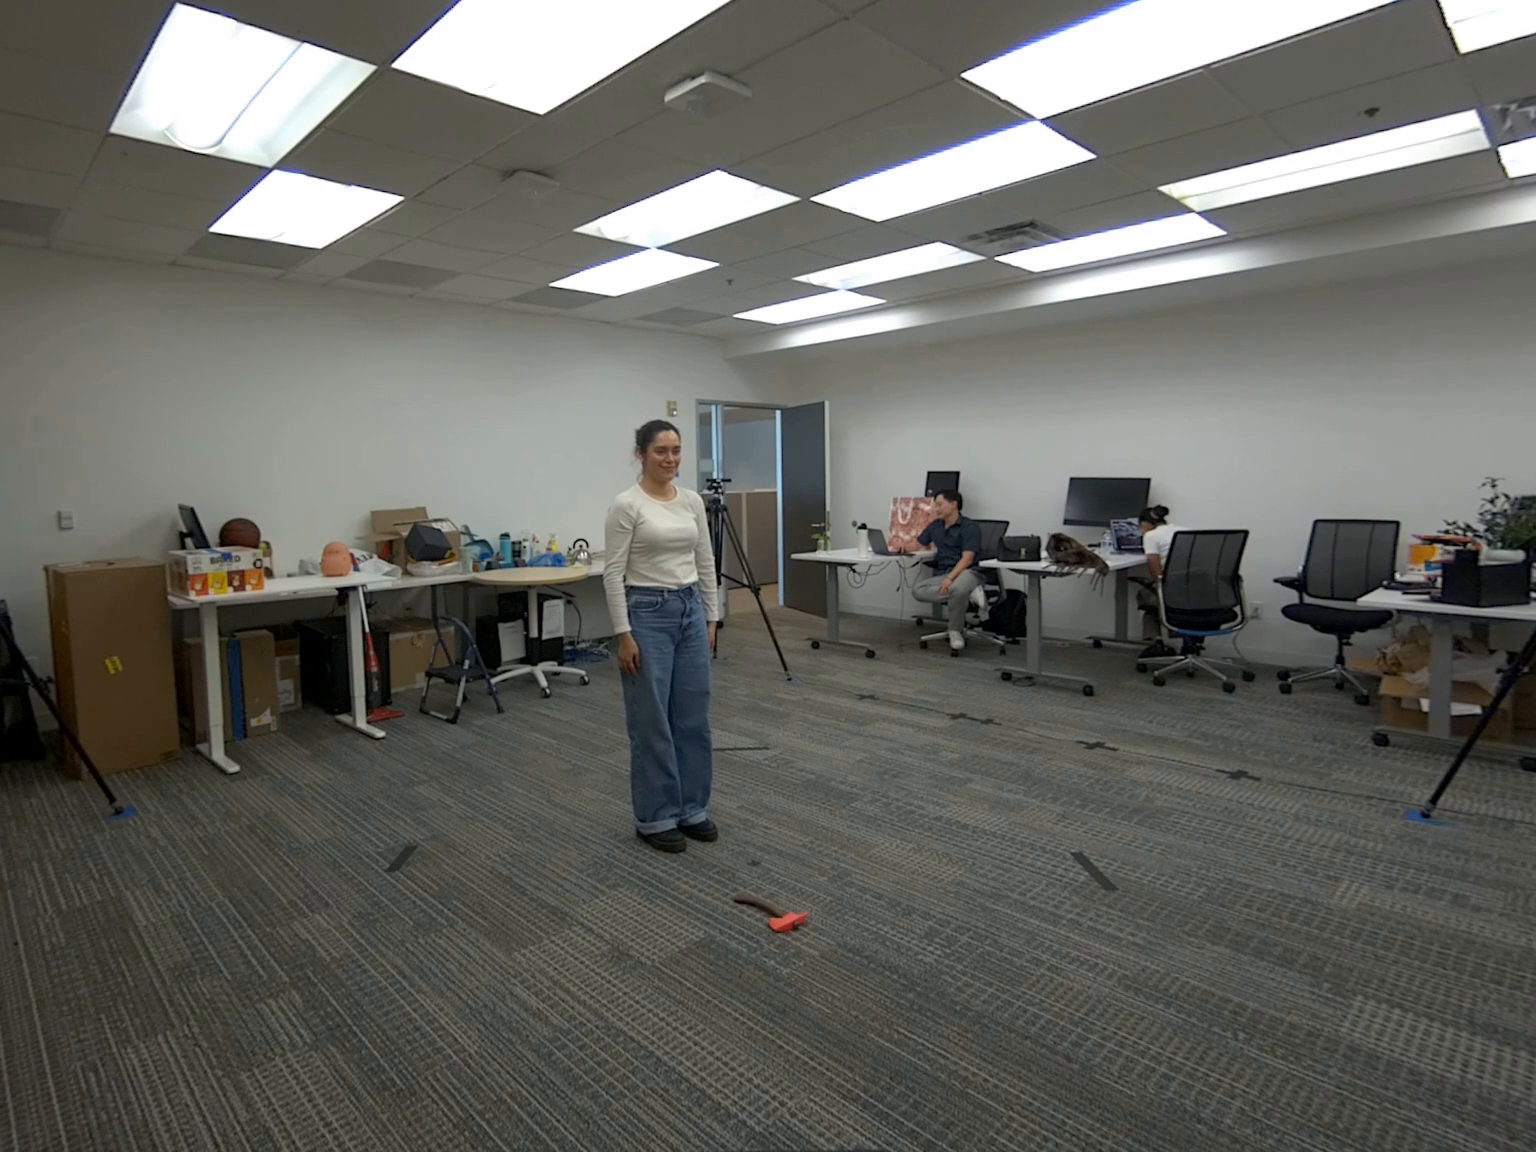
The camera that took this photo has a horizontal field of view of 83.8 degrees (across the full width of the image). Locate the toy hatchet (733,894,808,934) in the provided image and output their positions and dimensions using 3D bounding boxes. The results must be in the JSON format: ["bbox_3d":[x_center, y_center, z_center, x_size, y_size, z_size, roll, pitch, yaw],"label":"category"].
[{"bbox_3d":[-0.013,1.076,2.723,0.278,0.029,0.128,2,11,35],"label":"toy hatchet"}]
